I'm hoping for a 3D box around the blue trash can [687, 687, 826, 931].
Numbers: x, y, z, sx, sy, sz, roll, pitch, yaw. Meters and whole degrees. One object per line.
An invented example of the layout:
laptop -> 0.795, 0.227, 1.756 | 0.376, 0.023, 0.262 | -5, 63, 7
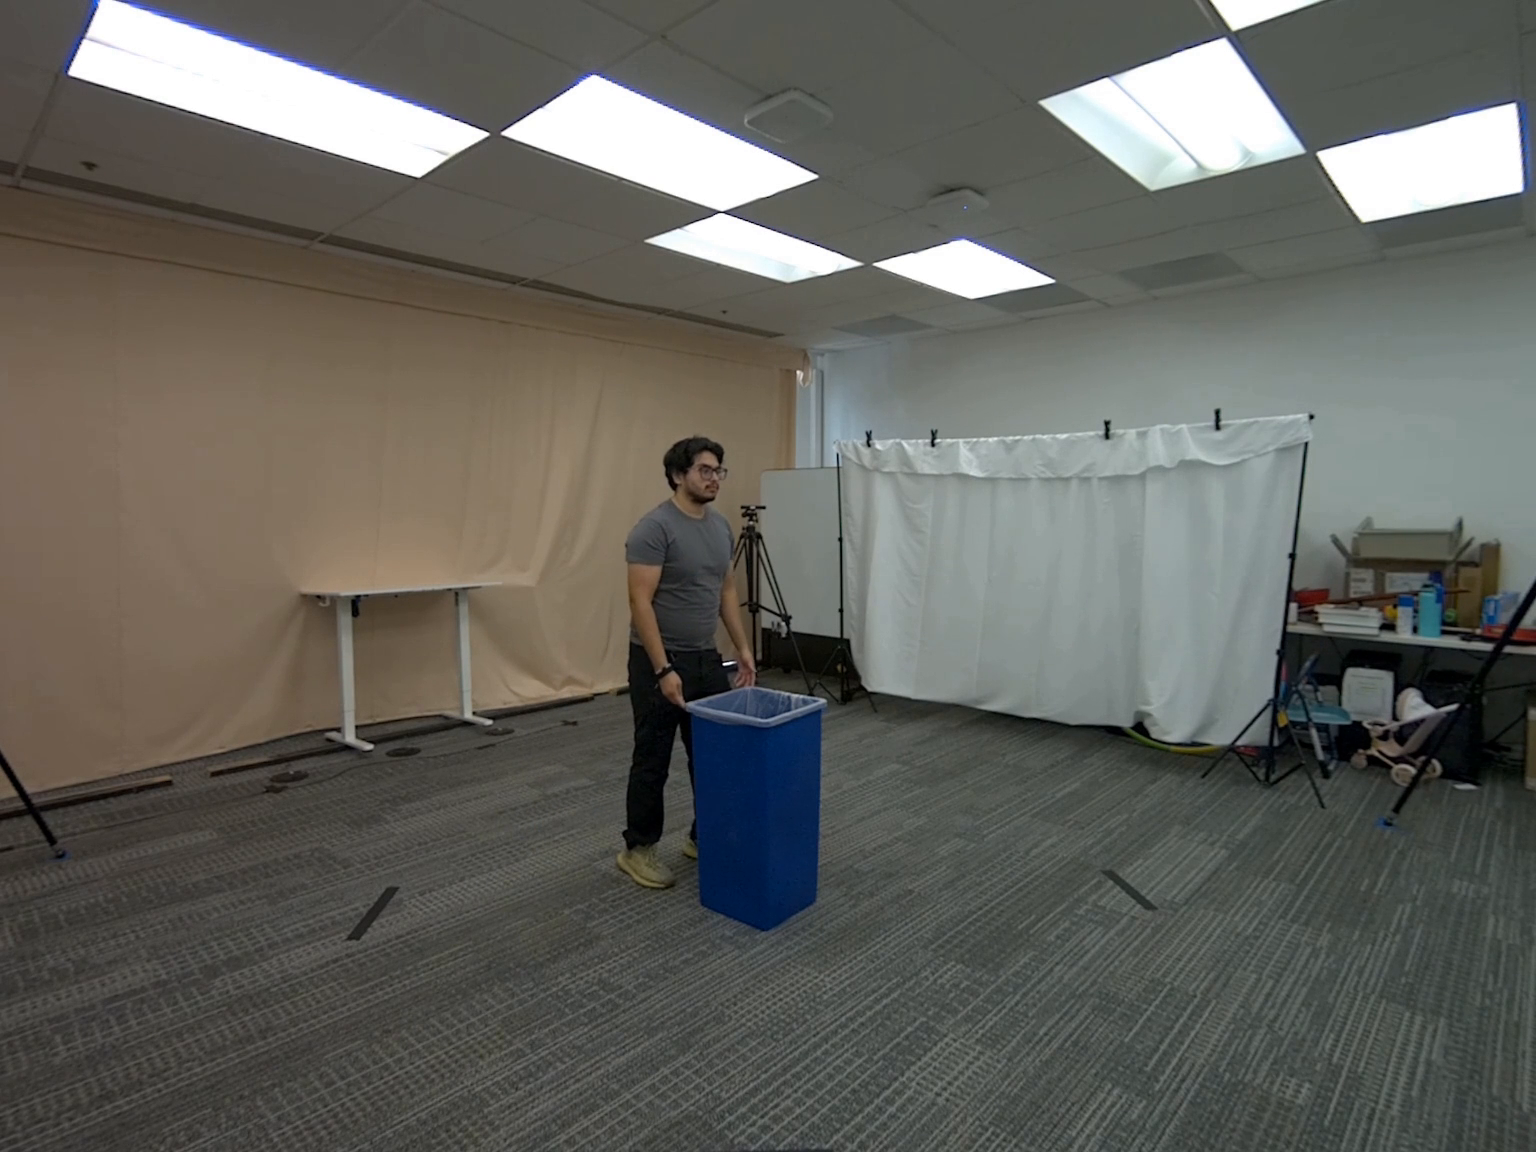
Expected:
blue trash can -> -0.032, 0.791, 2.926 | 0.390, 0.712, 0.363 | 2, 4, 39
